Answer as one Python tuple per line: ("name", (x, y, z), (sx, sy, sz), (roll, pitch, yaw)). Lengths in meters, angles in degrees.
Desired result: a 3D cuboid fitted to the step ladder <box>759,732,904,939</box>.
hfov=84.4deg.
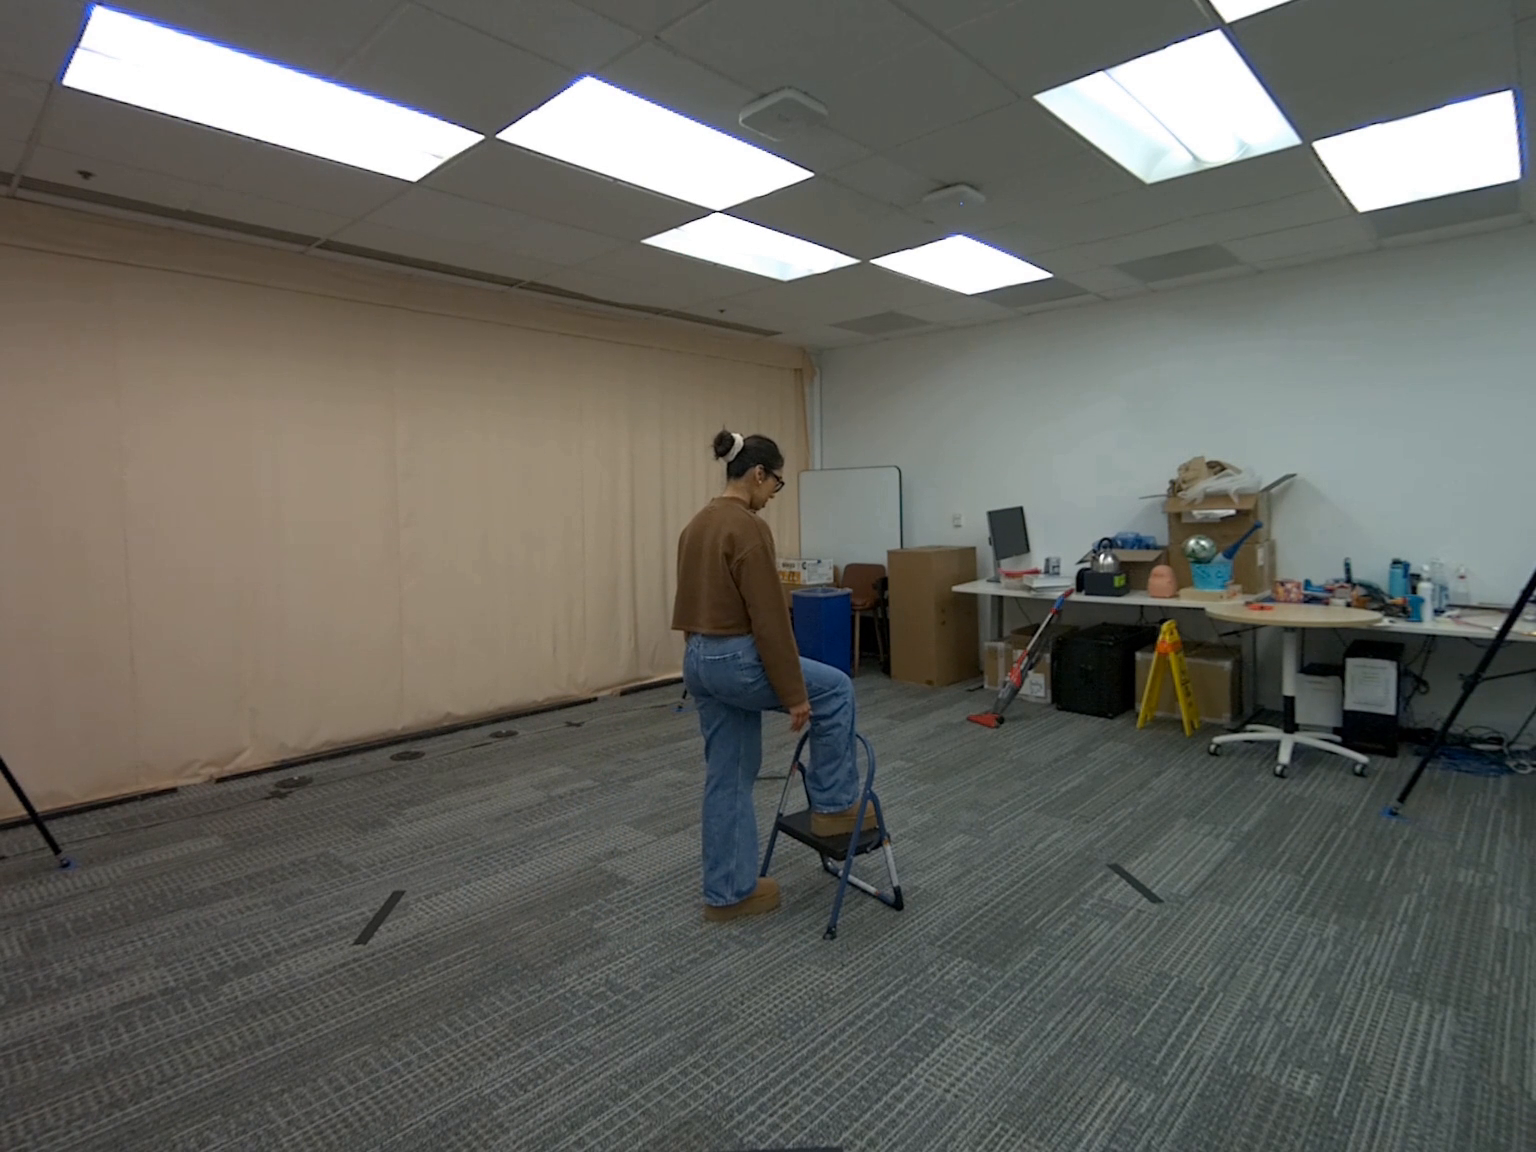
("step ladder", (0.209, 0.836, 2.939), (0.339, 0.605, 0.444), (-3, 4, -35))
